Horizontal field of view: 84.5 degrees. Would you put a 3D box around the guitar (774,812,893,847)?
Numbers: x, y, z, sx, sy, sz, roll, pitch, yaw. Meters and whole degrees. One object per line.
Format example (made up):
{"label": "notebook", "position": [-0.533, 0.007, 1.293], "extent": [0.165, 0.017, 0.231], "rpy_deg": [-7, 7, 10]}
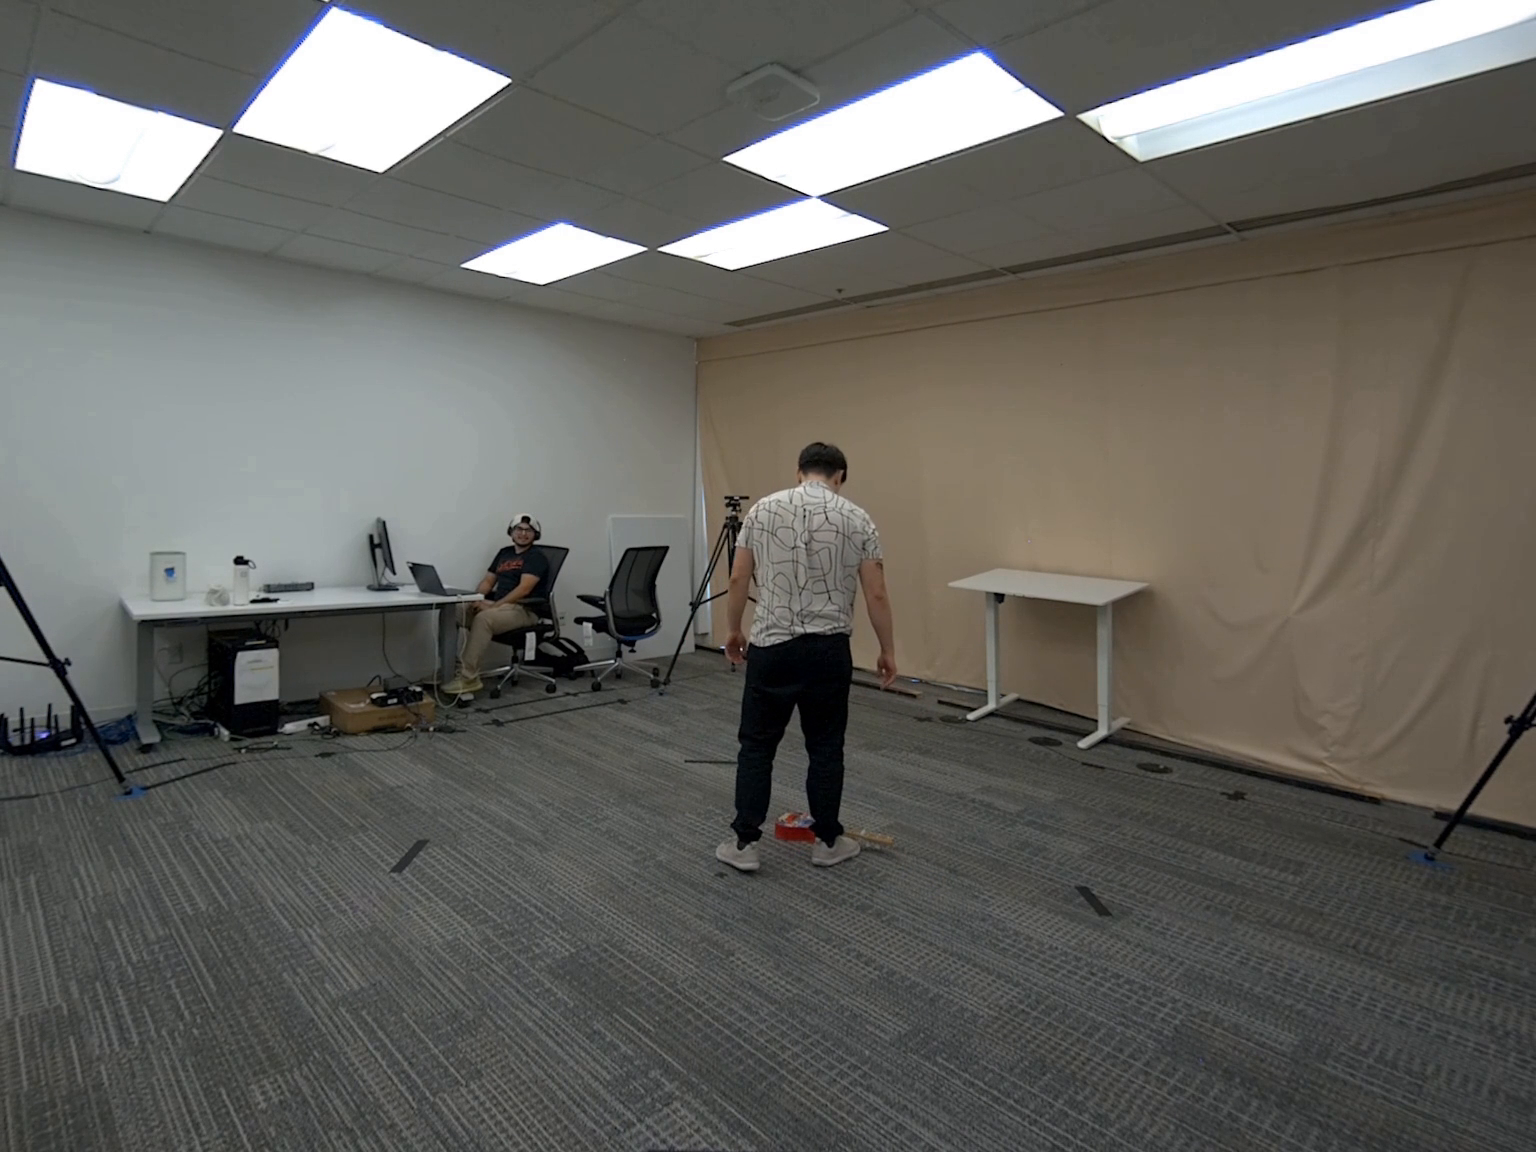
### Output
{"label": "guitar", "position": [0.244, 1.053, 3.411], "extent": [0.510, 0.070, 0.189], "rpy_deg": [5, 6, 37]}
